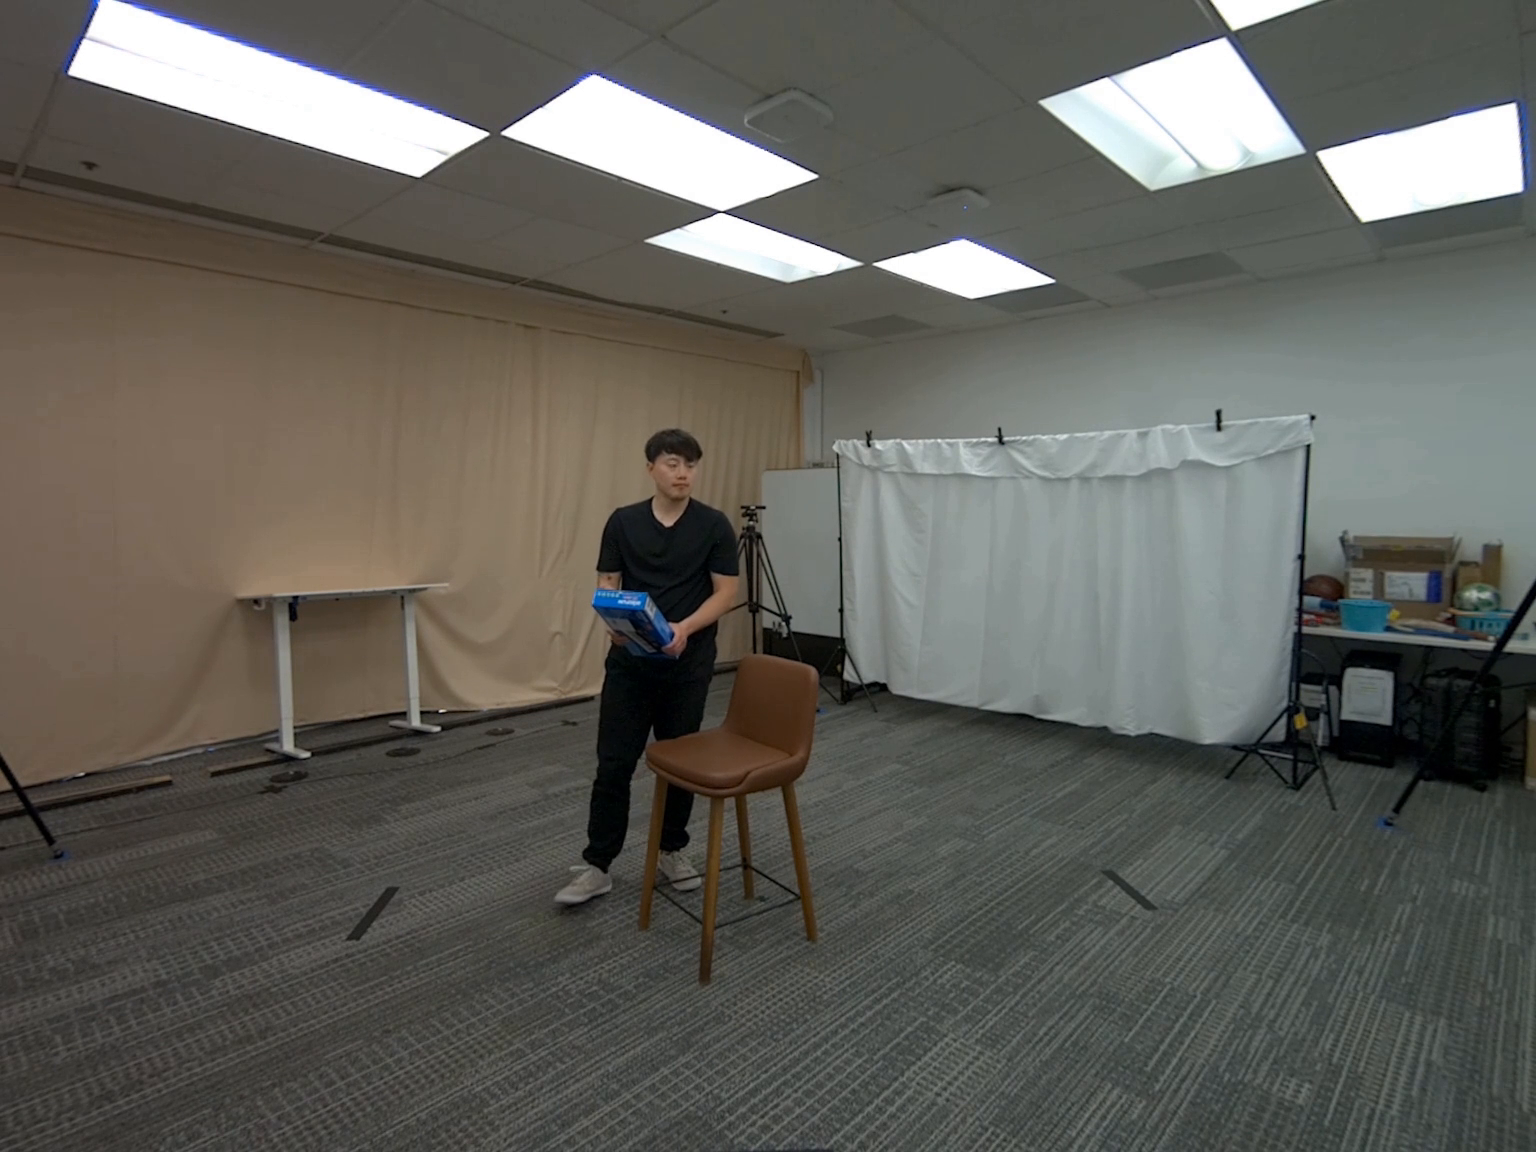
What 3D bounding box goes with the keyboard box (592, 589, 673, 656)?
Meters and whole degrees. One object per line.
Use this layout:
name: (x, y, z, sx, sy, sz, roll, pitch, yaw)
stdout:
keyboard box: (-0.428, 0.164, 2.741, 0.179, 0.059, 0.426, 5, -26, 13)
